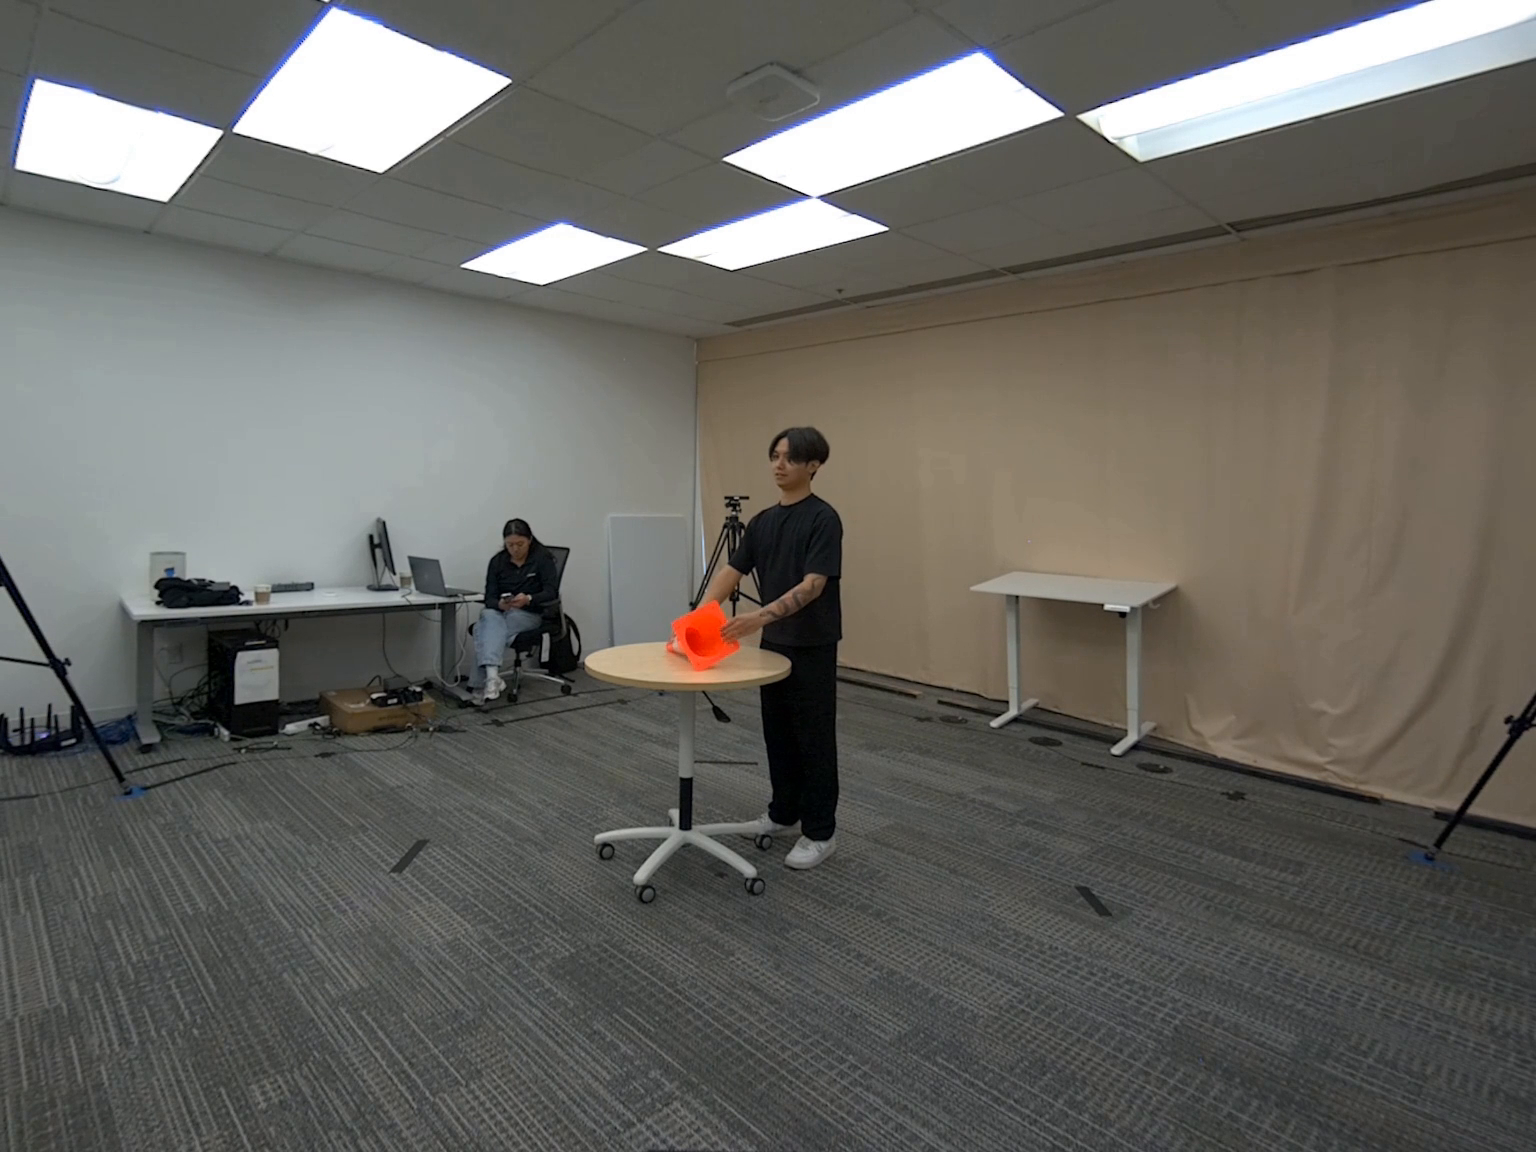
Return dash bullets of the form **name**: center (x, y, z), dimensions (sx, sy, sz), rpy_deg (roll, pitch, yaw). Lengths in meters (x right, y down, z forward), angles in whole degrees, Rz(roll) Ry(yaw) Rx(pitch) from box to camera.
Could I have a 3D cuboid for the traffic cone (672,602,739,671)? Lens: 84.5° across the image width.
- **traffic cone**: center (-0.313, 0.250, 3.157), dimensions (0.201, 0.205, 0.387), rpy_deg (-28, 2, -29)
